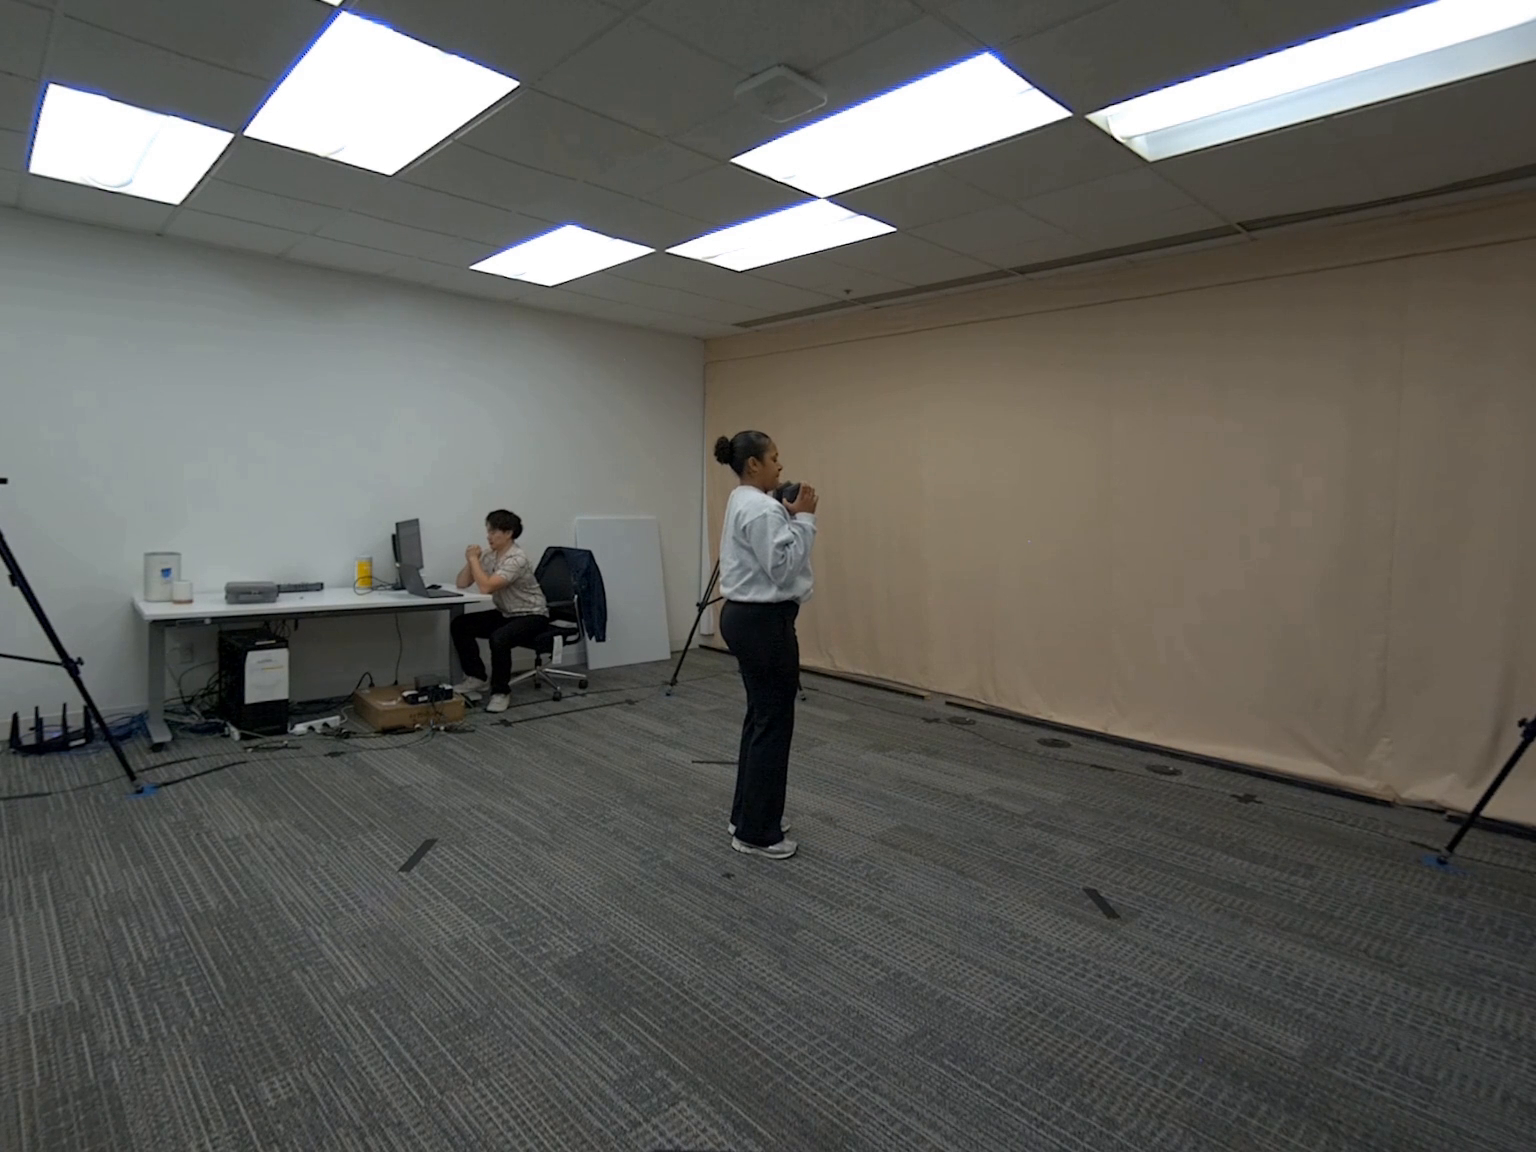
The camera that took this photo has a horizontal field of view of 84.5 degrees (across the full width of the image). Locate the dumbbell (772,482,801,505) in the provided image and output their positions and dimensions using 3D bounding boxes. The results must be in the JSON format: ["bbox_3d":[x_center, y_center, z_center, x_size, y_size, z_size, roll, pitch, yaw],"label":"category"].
[{"bbox_3d":[0.077,-0.317,3.356,0.122,0.108,0.296,29,2,-11],"label":"dumbbell"}]
